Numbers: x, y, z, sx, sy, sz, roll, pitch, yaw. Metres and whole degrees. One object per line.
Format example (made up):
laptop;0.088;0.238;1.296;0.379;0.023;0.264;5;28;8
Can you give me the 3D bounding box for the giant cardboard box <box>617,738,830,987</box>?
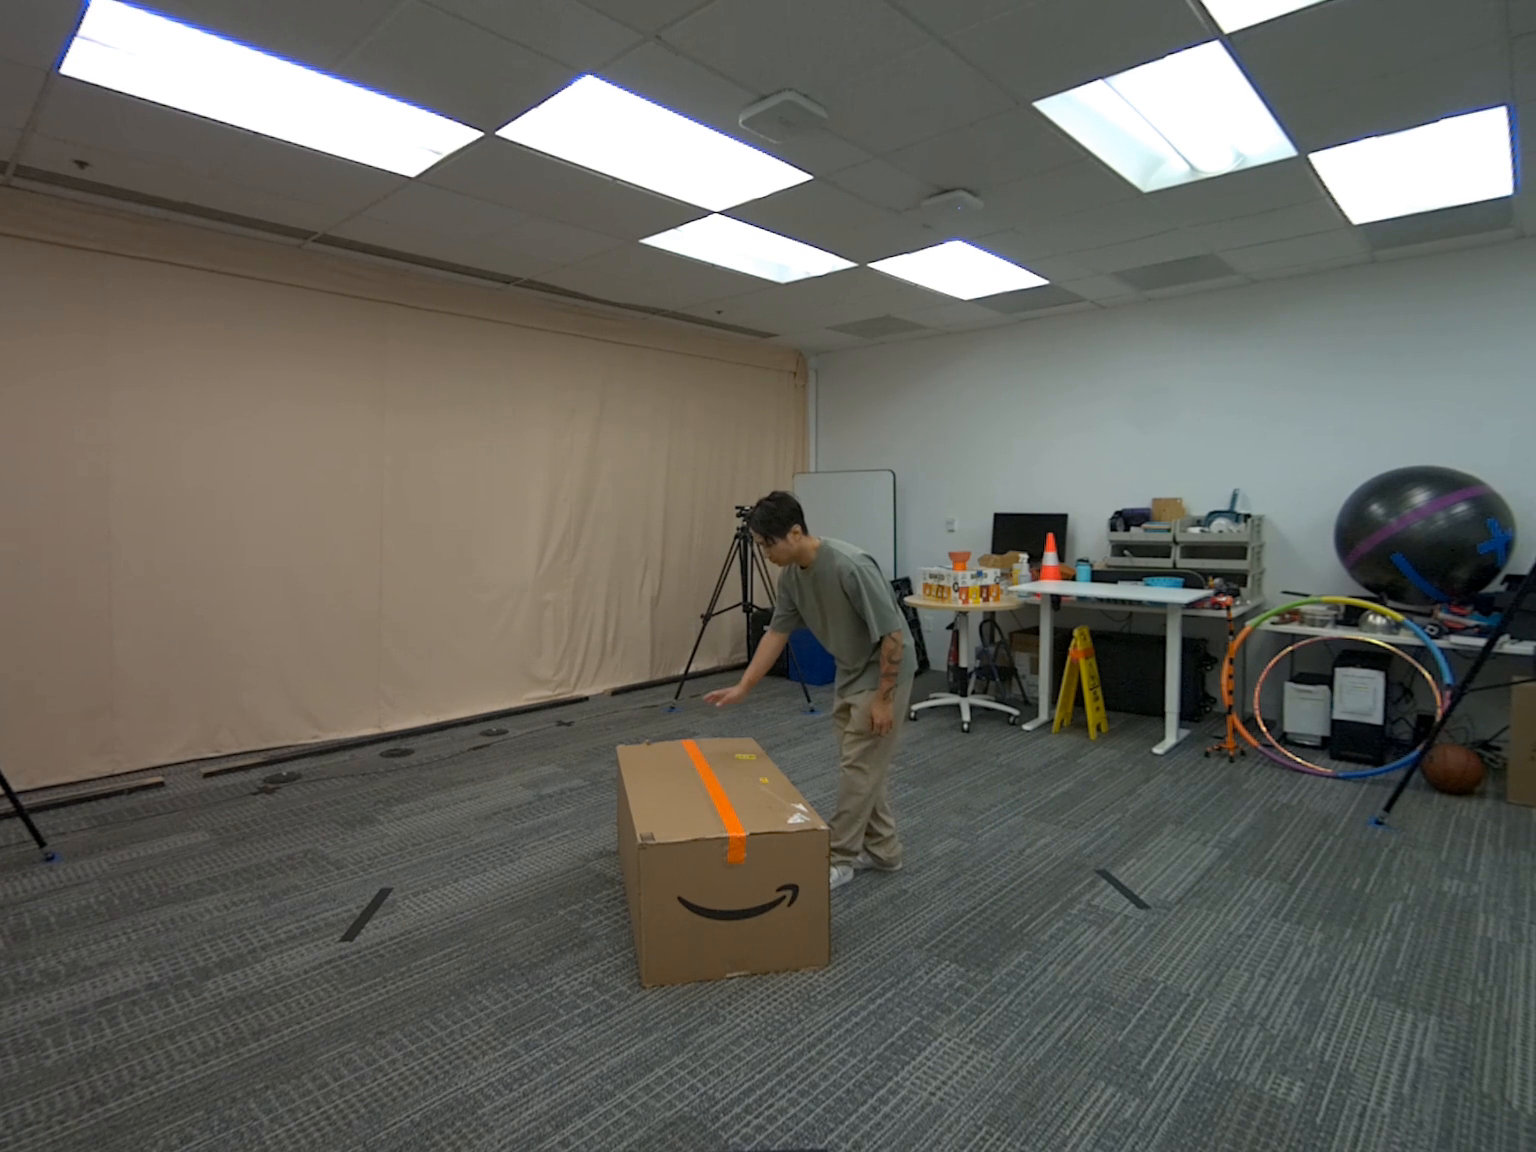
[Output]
giant cardboard box;-0.214;0.926;2.974;0.570;0.425;1.041;-1;4;-13
